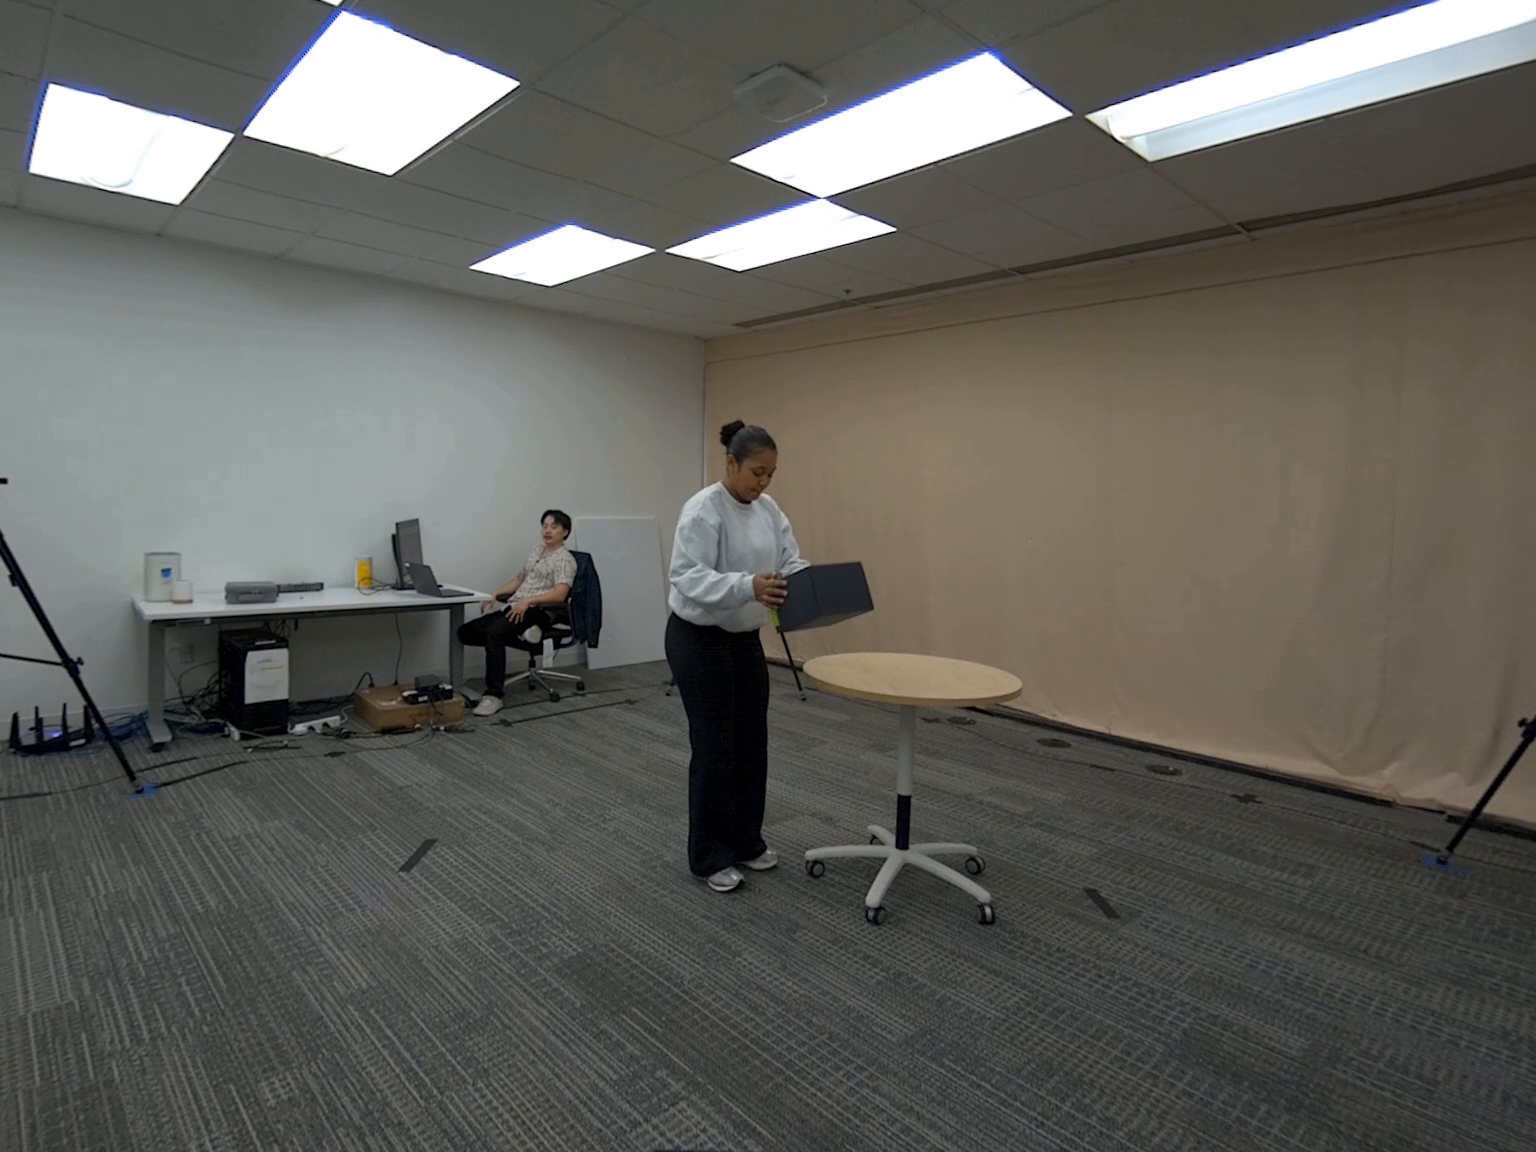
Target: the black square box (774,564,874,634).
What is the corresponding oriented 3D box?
[{"bbox_3d":[0.155,0.100,2.606,0.223,0.157,0.219,-5,-11,-37],"label":"black square box"}]
